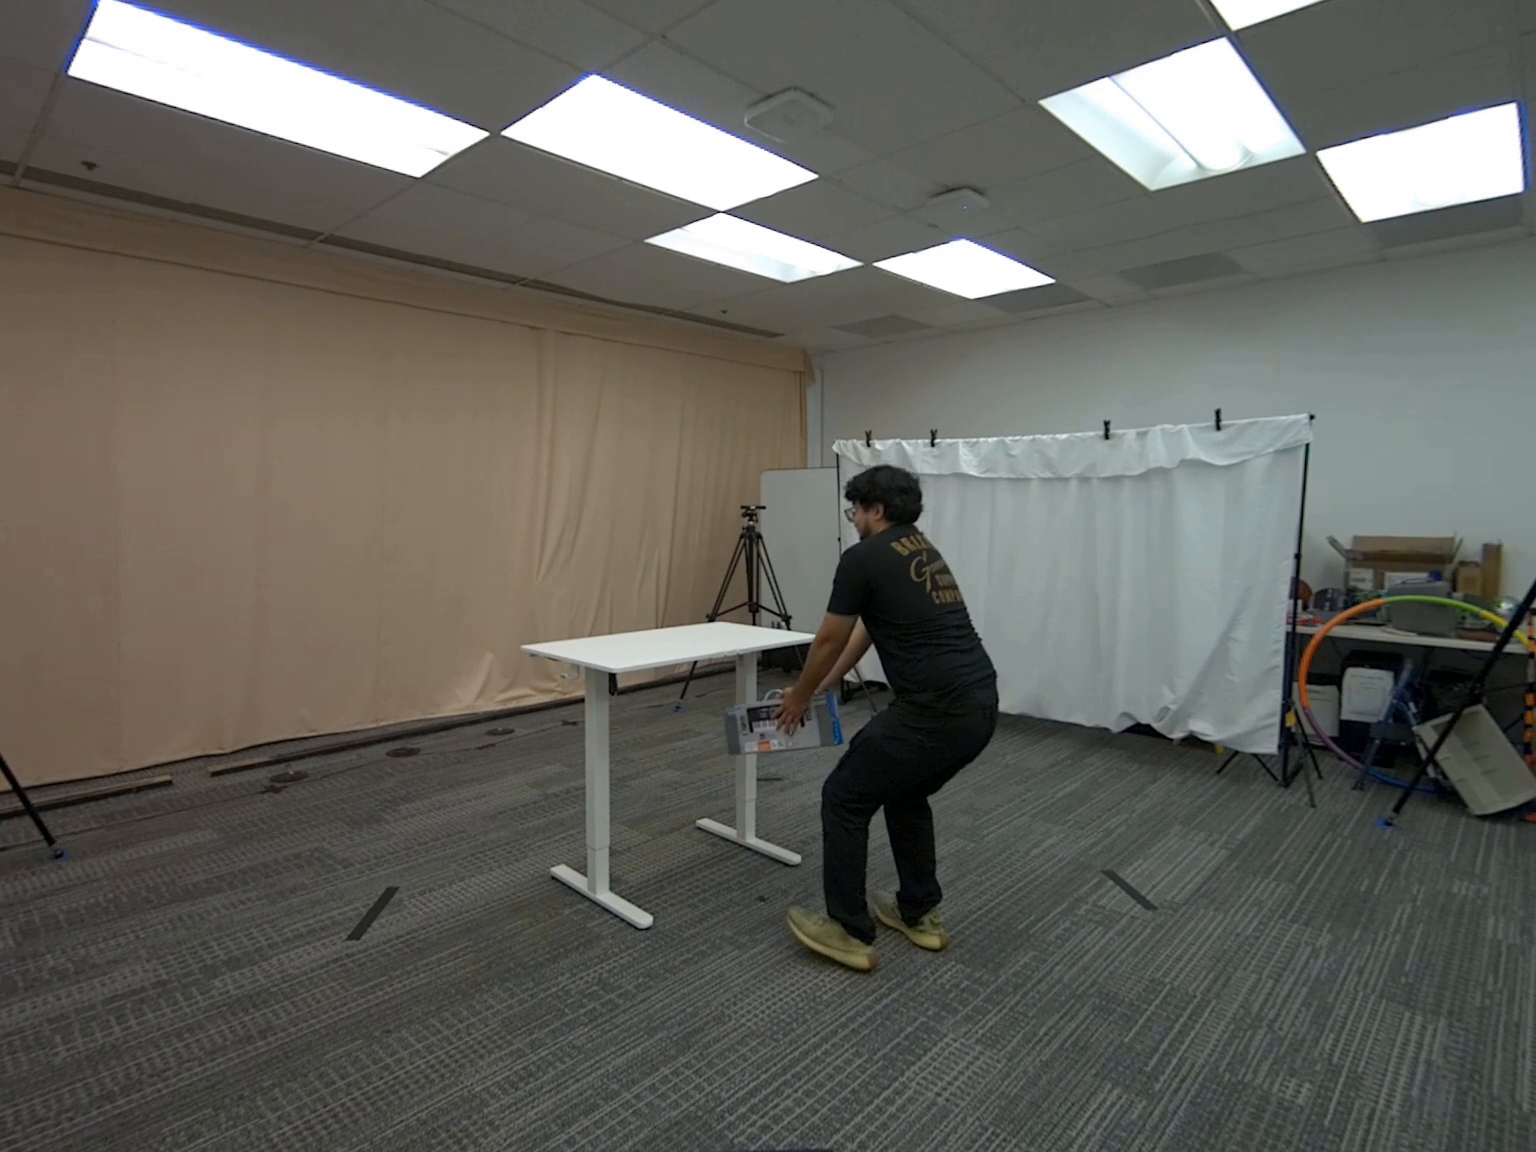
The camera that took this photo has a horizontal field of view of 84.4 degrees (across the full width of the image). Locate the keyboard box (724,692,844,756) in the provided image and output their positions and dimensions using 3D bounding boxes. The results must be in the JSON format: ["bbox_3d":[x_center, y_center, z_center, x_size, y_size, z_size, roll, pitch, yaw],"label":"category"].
[{"bbox_3d":[0.044,0.520,2.887,0.448,0.177,0.057,-14,-10,34],"label":"keyboard box"}]
